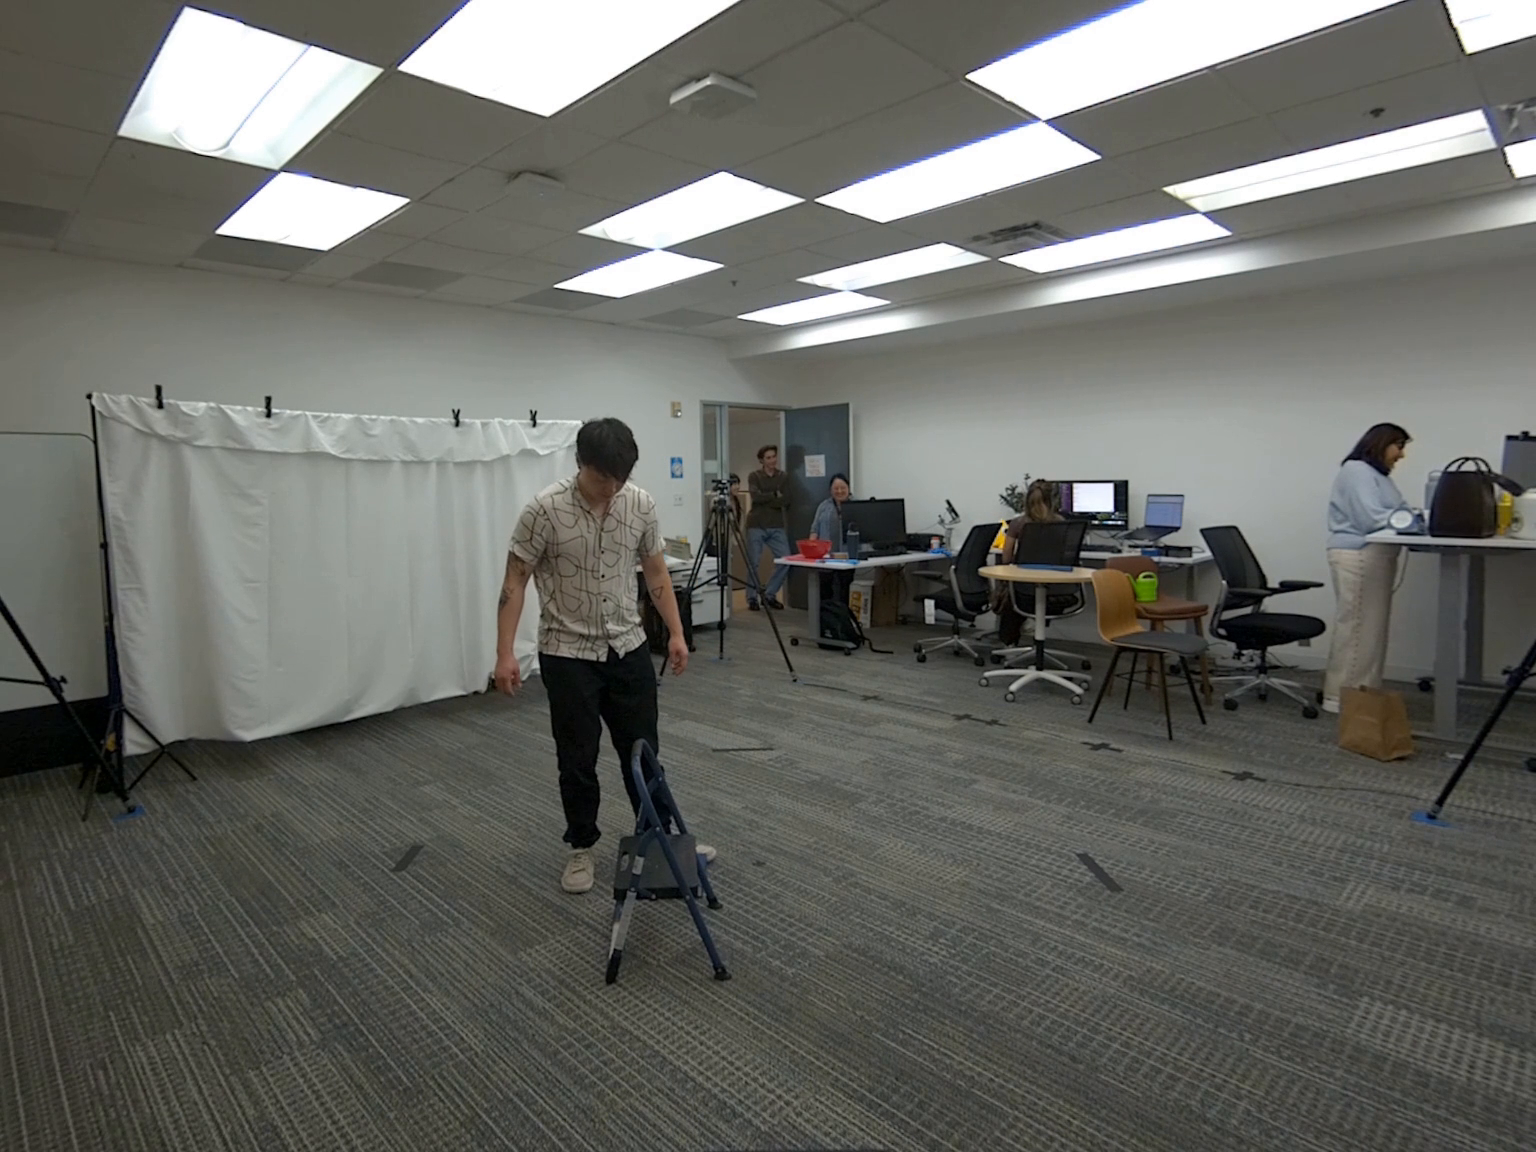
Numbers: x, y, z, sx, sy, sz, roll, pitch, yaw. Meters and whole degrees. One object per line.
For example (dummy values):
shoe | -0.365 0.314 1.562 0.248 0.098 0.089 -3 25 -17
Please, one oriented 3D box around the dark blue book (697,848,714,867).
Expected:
dark blue book | -0.305 1.048 2.985 0.164 0.045 0.246 -1 6 0
